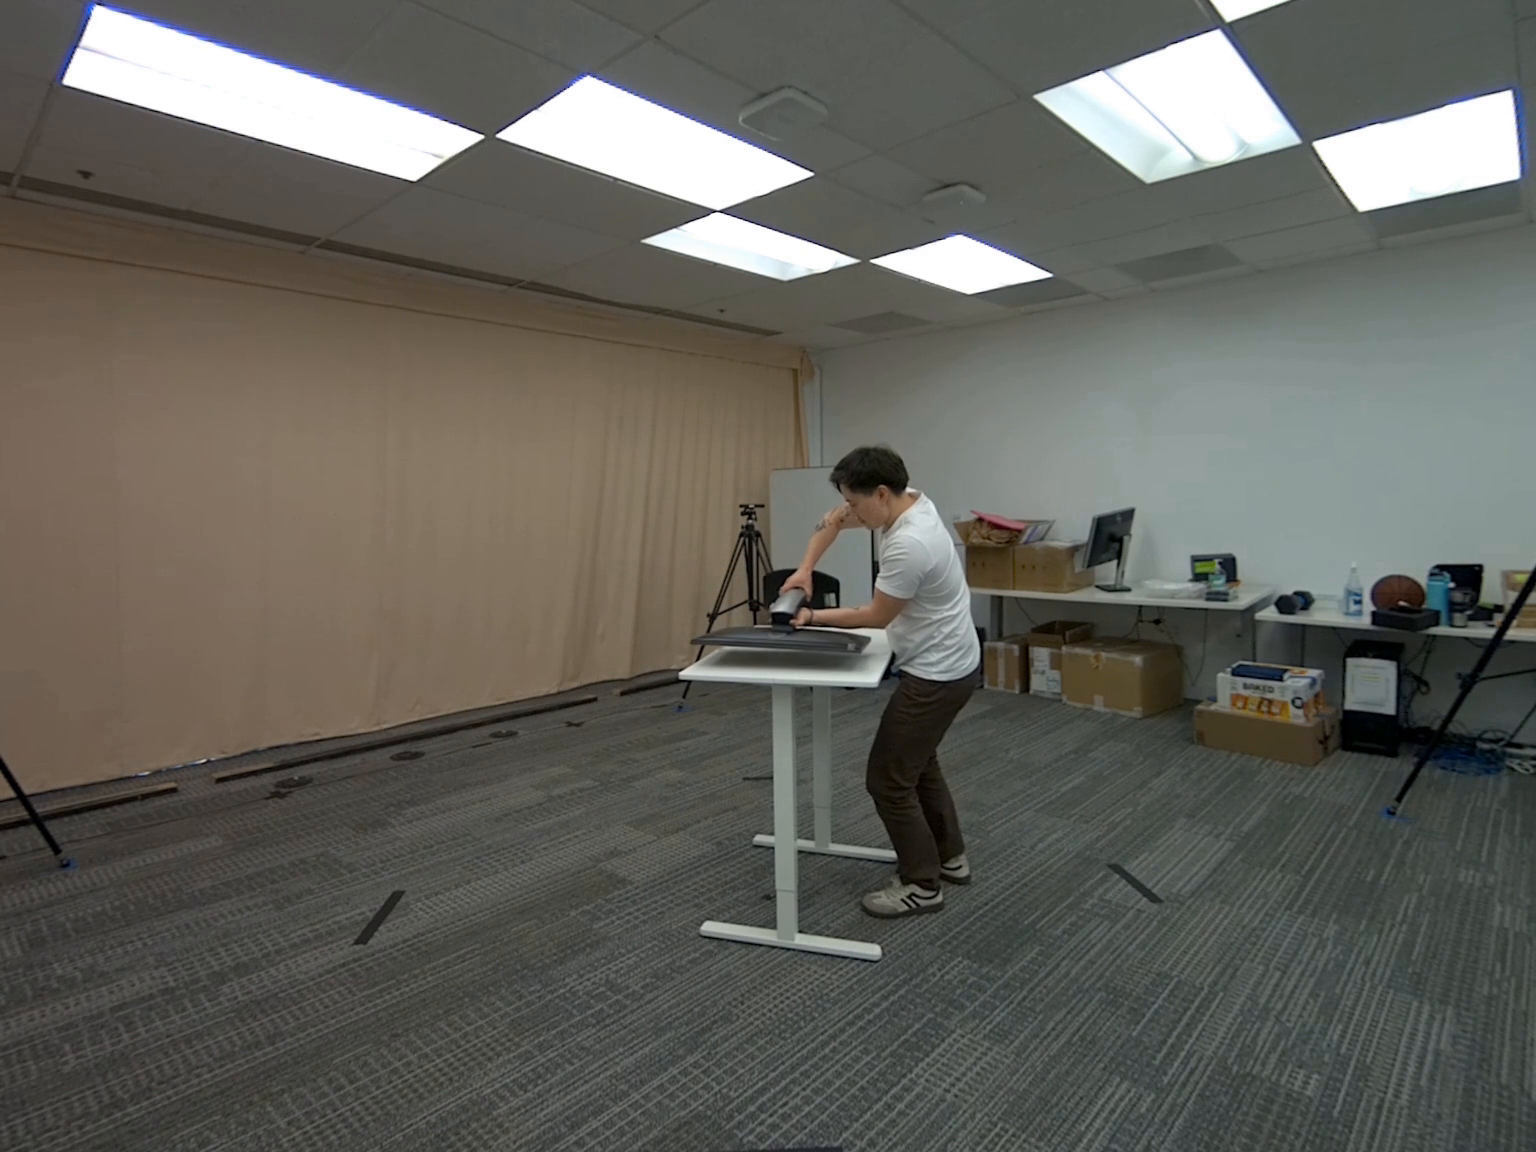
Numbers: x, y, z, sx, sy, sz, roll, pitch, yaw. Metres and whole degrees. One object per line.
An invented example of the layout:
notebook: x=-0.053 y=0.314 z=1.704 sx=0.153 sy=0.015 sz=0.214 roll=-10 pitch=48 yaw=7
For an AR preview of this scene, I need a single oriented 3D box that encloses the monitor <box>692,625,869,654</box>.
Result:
monitor: x=0.076 y=0.153 z=2.831 sx=0.549 sy=0.185 sz=0.520 roll=1 pitch=19 yaw=15
